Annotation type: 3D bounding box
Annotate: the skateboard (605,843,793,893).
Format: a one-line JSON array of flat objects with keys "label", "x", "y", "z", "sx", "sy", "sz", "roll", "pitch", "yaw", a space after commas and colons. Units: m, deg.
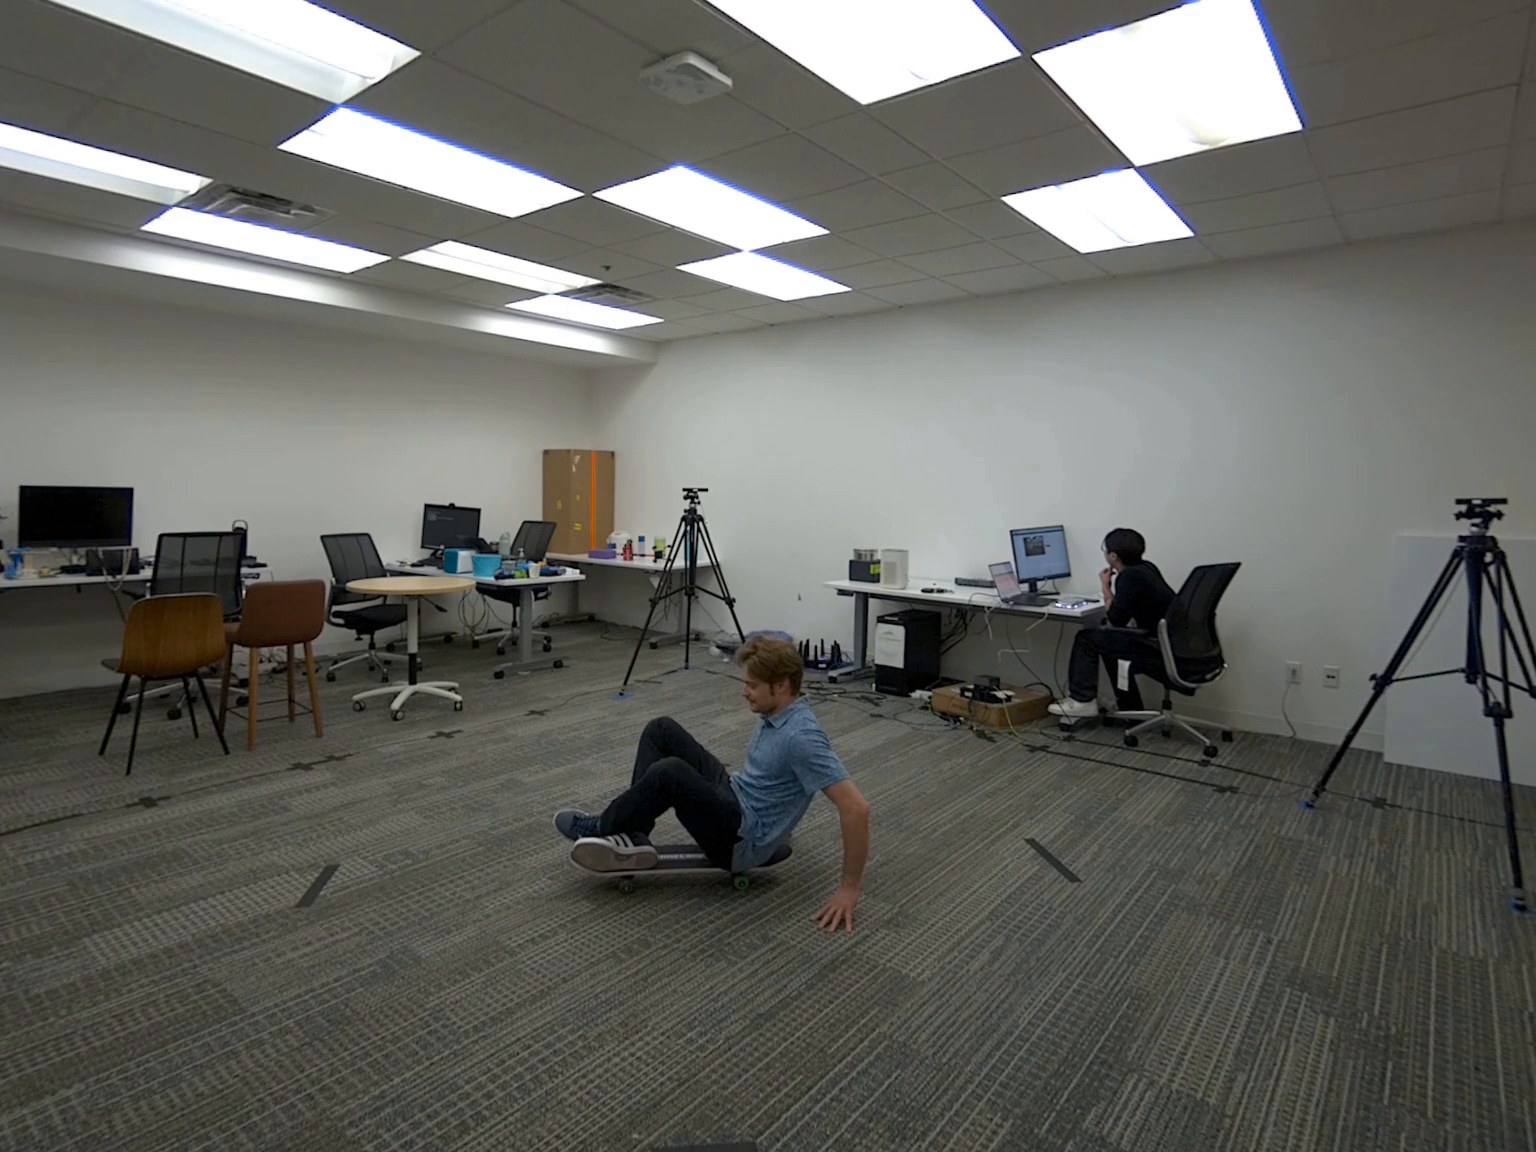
[{"label": "skateboard", "x": -0.318, "y": 1.030, "z": 3.000, "sx": 0.780, "sy": 0.110, "sz": 0.196, "roll": 2, "pitch": 7, "yaw": -6}]
